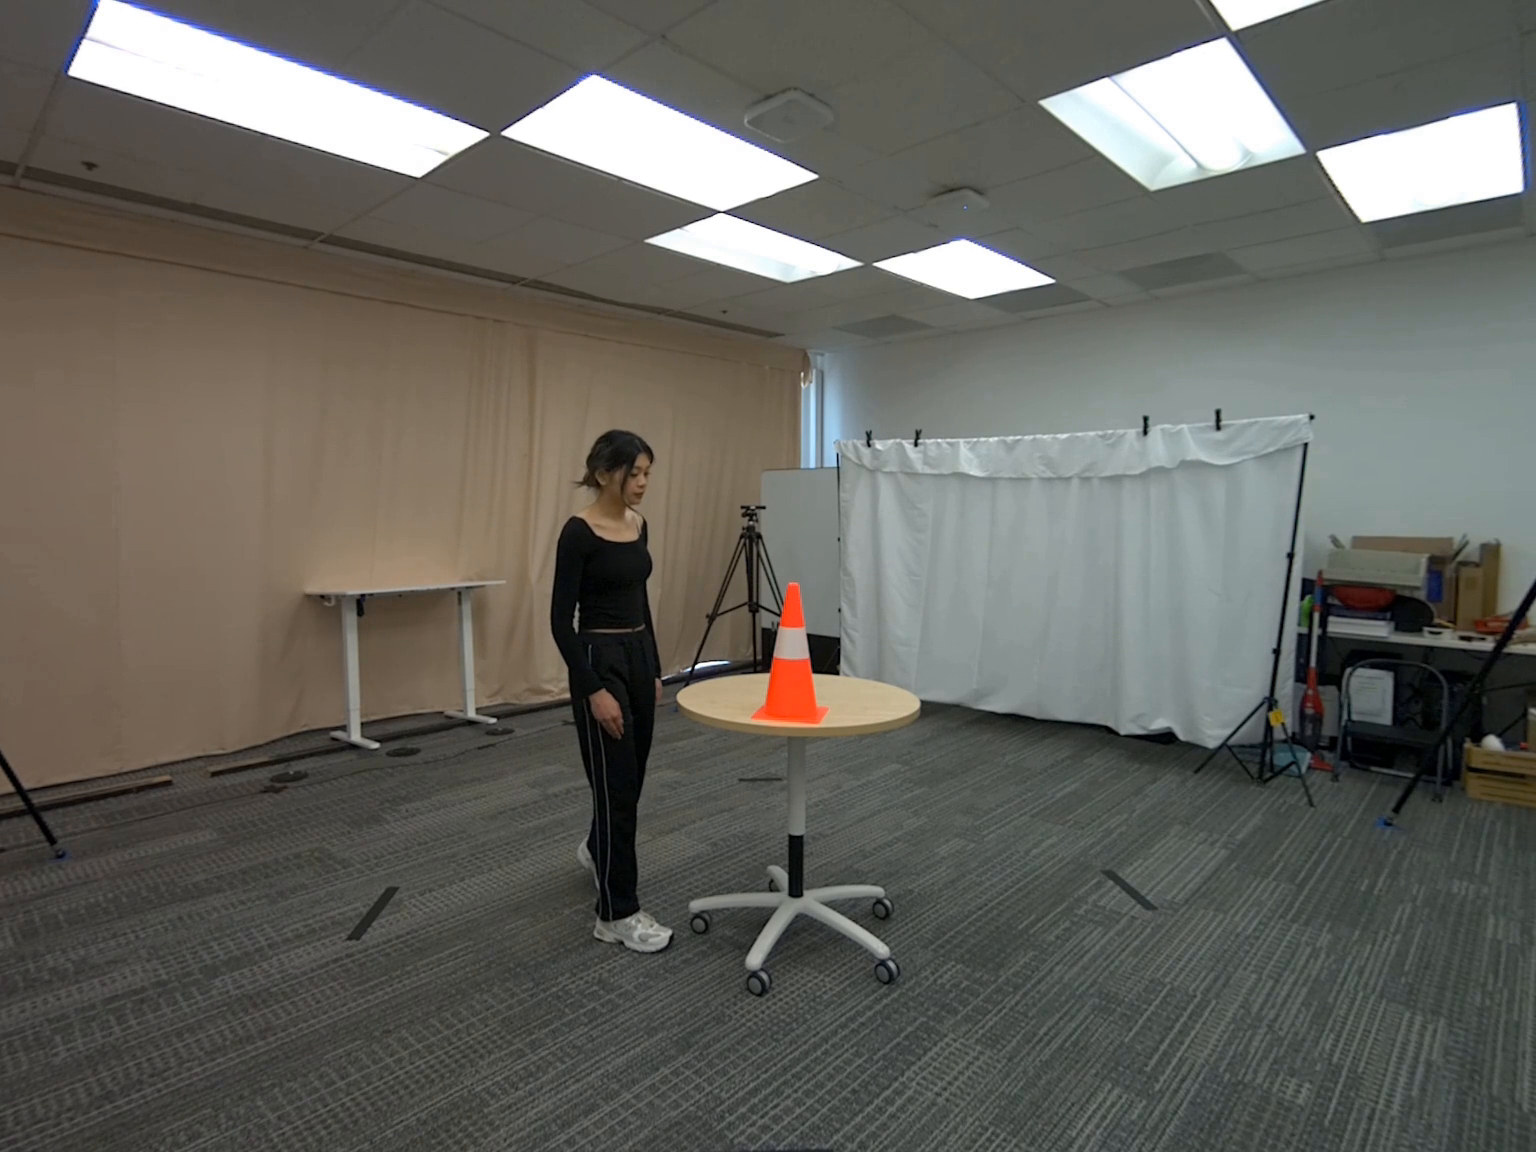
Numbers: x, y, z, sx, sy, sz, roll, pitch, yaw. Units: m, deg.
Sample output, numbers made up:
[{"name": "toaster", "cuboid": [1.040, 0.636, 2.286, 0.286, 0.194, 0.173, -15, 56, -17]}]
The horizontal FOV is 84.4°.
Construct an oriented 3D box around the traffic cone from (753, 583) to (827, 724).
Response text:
[{"name": "traffic cone", "cuboid": [0.071, 0.215, 2.440, 0.205, 0.383, 0.204, -2, 4, 6]}]
